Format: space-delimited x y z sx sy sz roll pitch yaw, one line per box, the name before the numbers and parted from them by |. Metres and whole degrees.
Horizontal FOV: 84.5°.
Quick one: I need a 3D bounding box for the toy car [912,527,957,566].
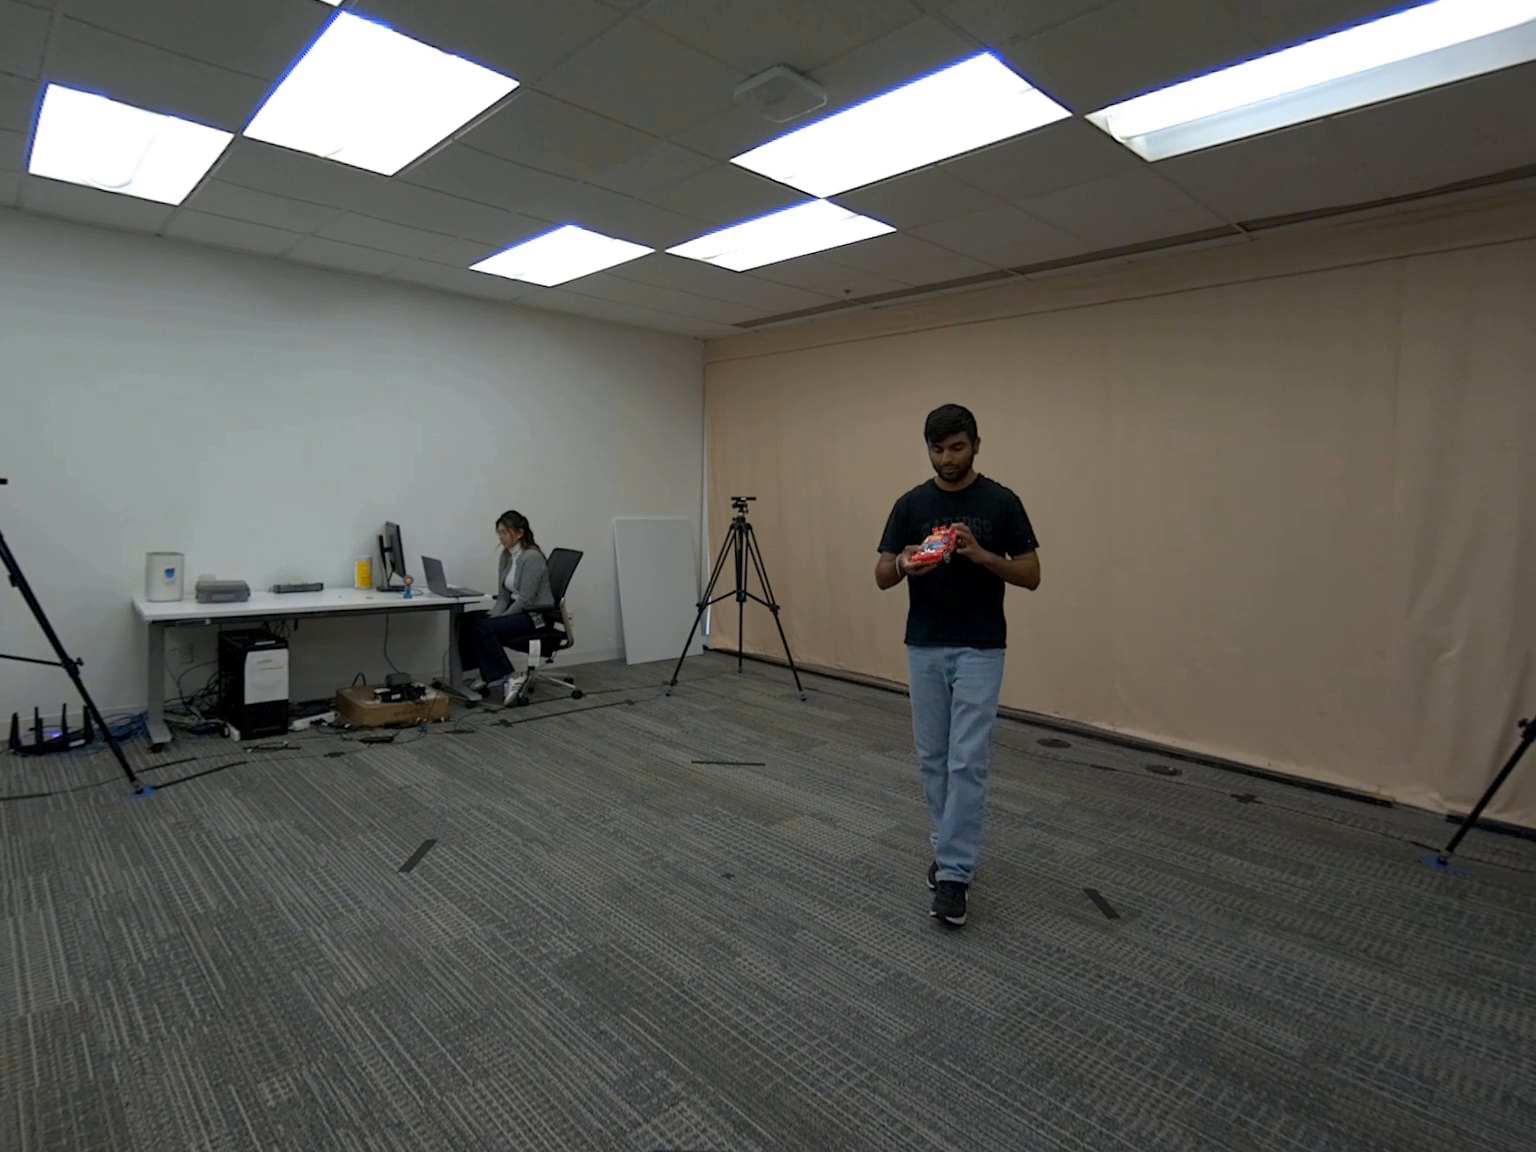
toy car | 0.552 -0.091 2.762 0.132 0.081 0.255 -15 24 31
